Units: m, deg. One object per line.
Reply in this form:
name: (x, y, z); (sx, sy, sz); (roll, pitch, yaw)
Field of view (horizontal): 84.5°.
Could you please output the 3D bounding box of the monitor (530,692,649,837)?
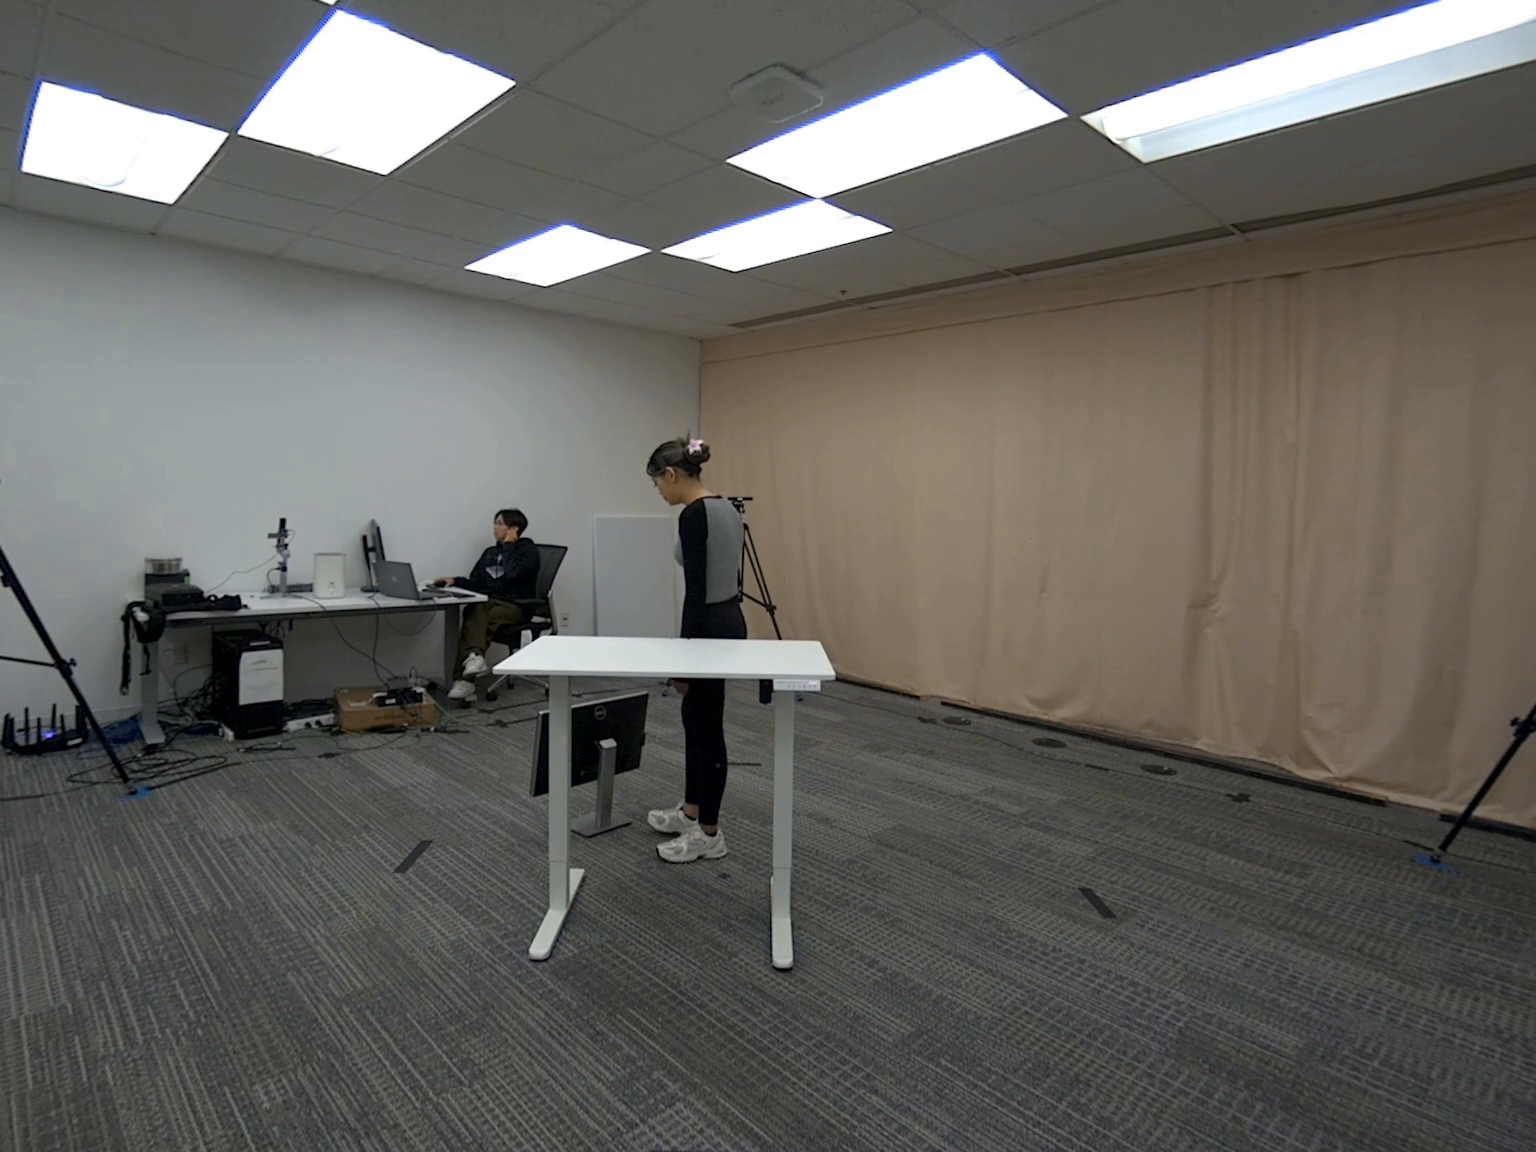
monitor: (-0.731, 0.793, 3.559); (0.191, 0.522, 0.527); (1, 3, 41)
